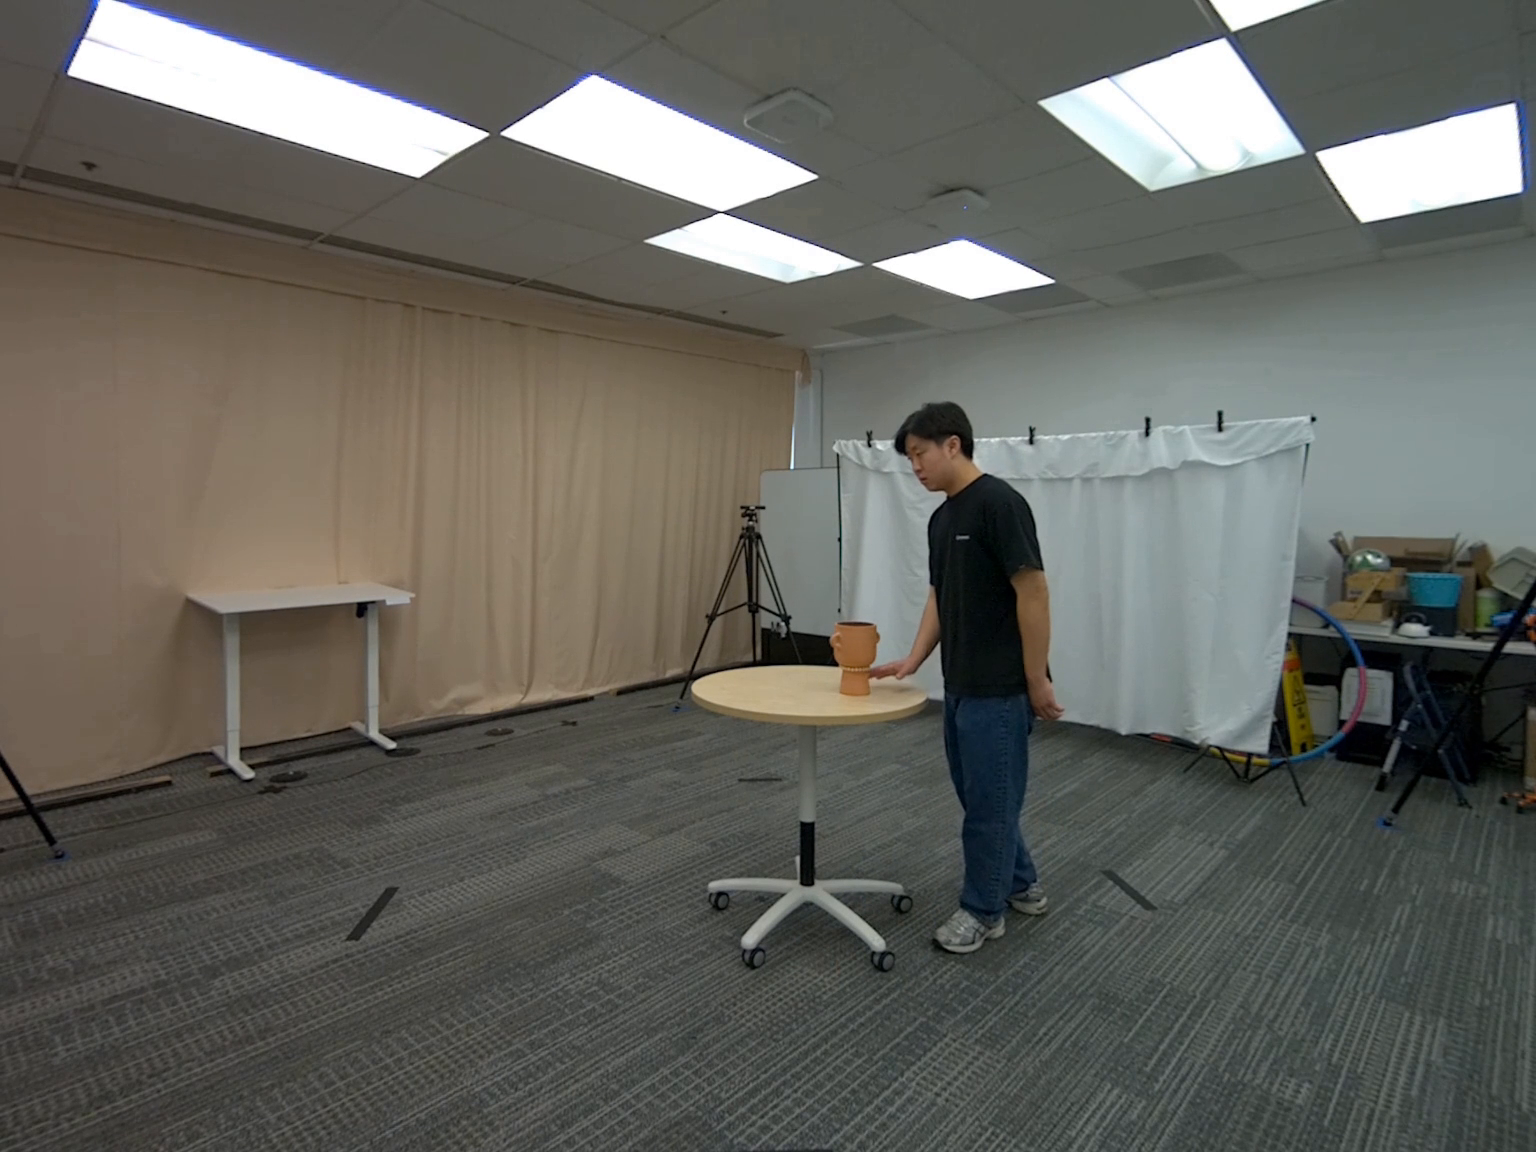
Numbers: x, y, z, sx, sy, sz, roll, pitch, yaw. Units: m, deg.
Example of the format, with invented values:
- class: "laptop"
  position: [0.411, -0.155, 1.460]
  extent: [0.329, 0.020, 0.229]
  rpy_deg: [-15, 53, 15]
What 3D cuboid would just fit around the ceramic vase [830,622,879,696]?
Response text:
- class: "ceramic vase"
  position: [0.290, 0.266, 2.680]
  extent: [0.160, 0.219, 0.133]
  rpy_deg: [0, 2, 8]
